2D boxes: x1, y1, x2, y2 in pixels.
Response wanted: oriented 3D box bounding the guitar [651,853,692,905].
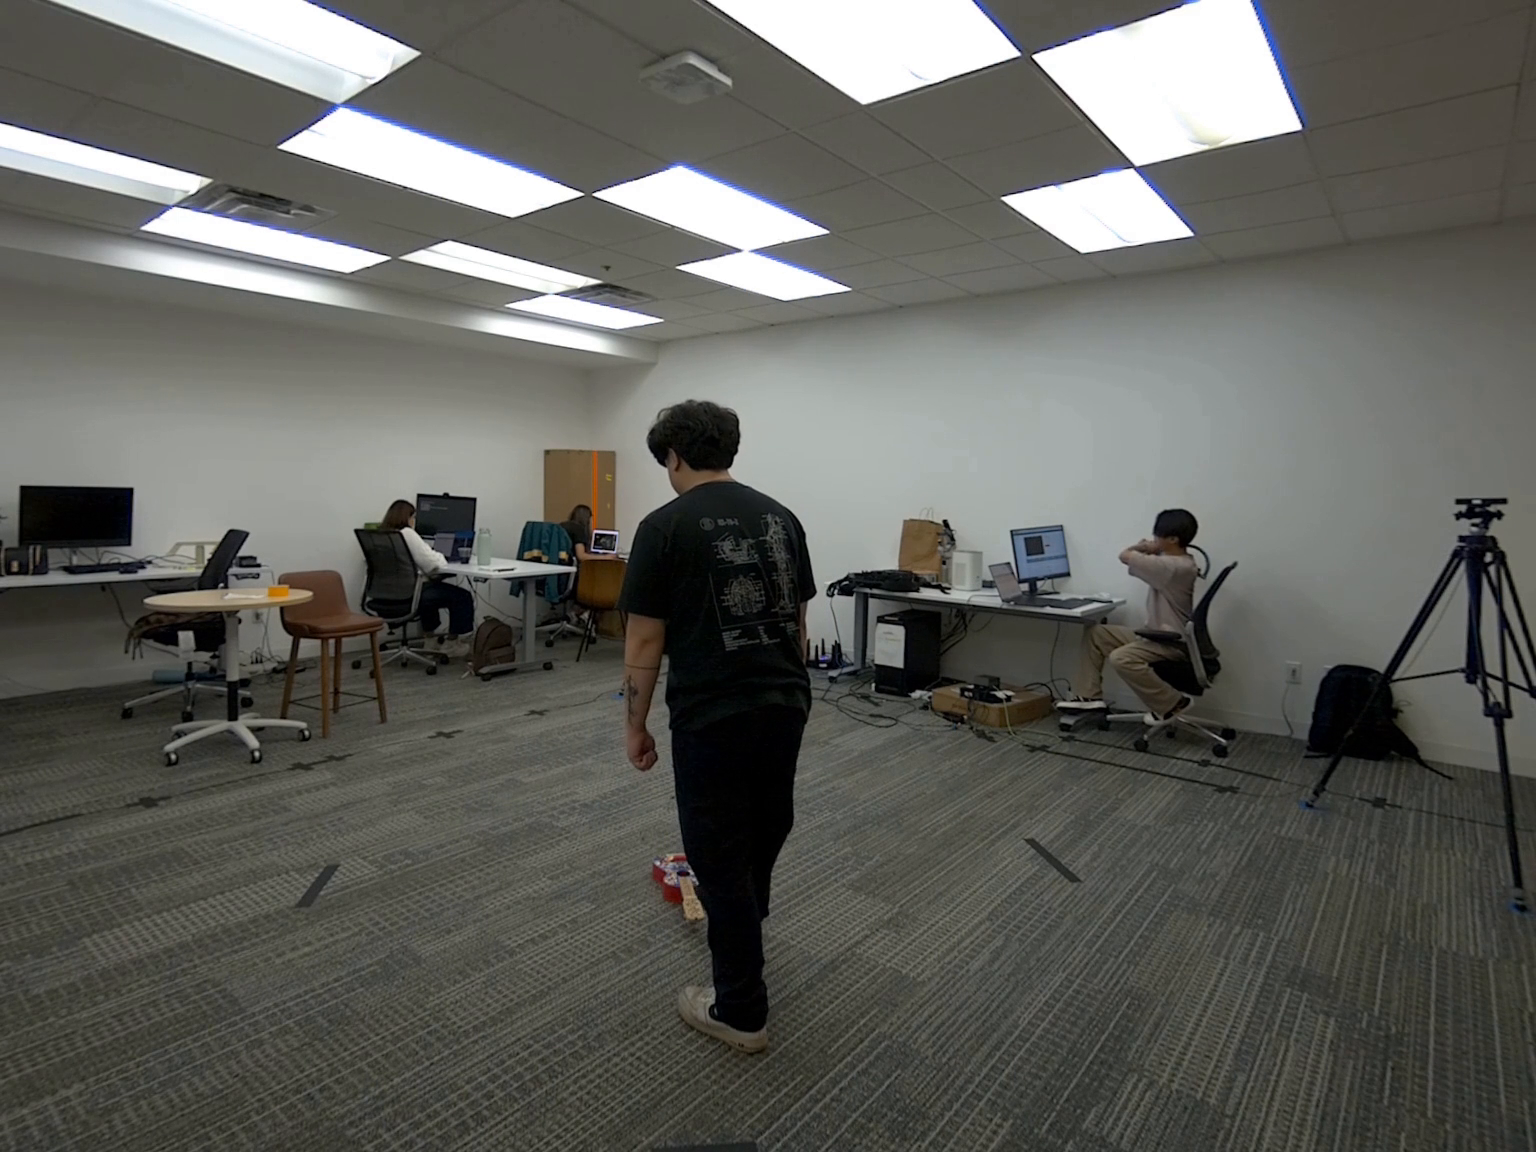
[{"bbox_3d":[-0.313,1.056,2.863,0.192,0.070,0.500,1,5,-4],"label":"guitar"}]
